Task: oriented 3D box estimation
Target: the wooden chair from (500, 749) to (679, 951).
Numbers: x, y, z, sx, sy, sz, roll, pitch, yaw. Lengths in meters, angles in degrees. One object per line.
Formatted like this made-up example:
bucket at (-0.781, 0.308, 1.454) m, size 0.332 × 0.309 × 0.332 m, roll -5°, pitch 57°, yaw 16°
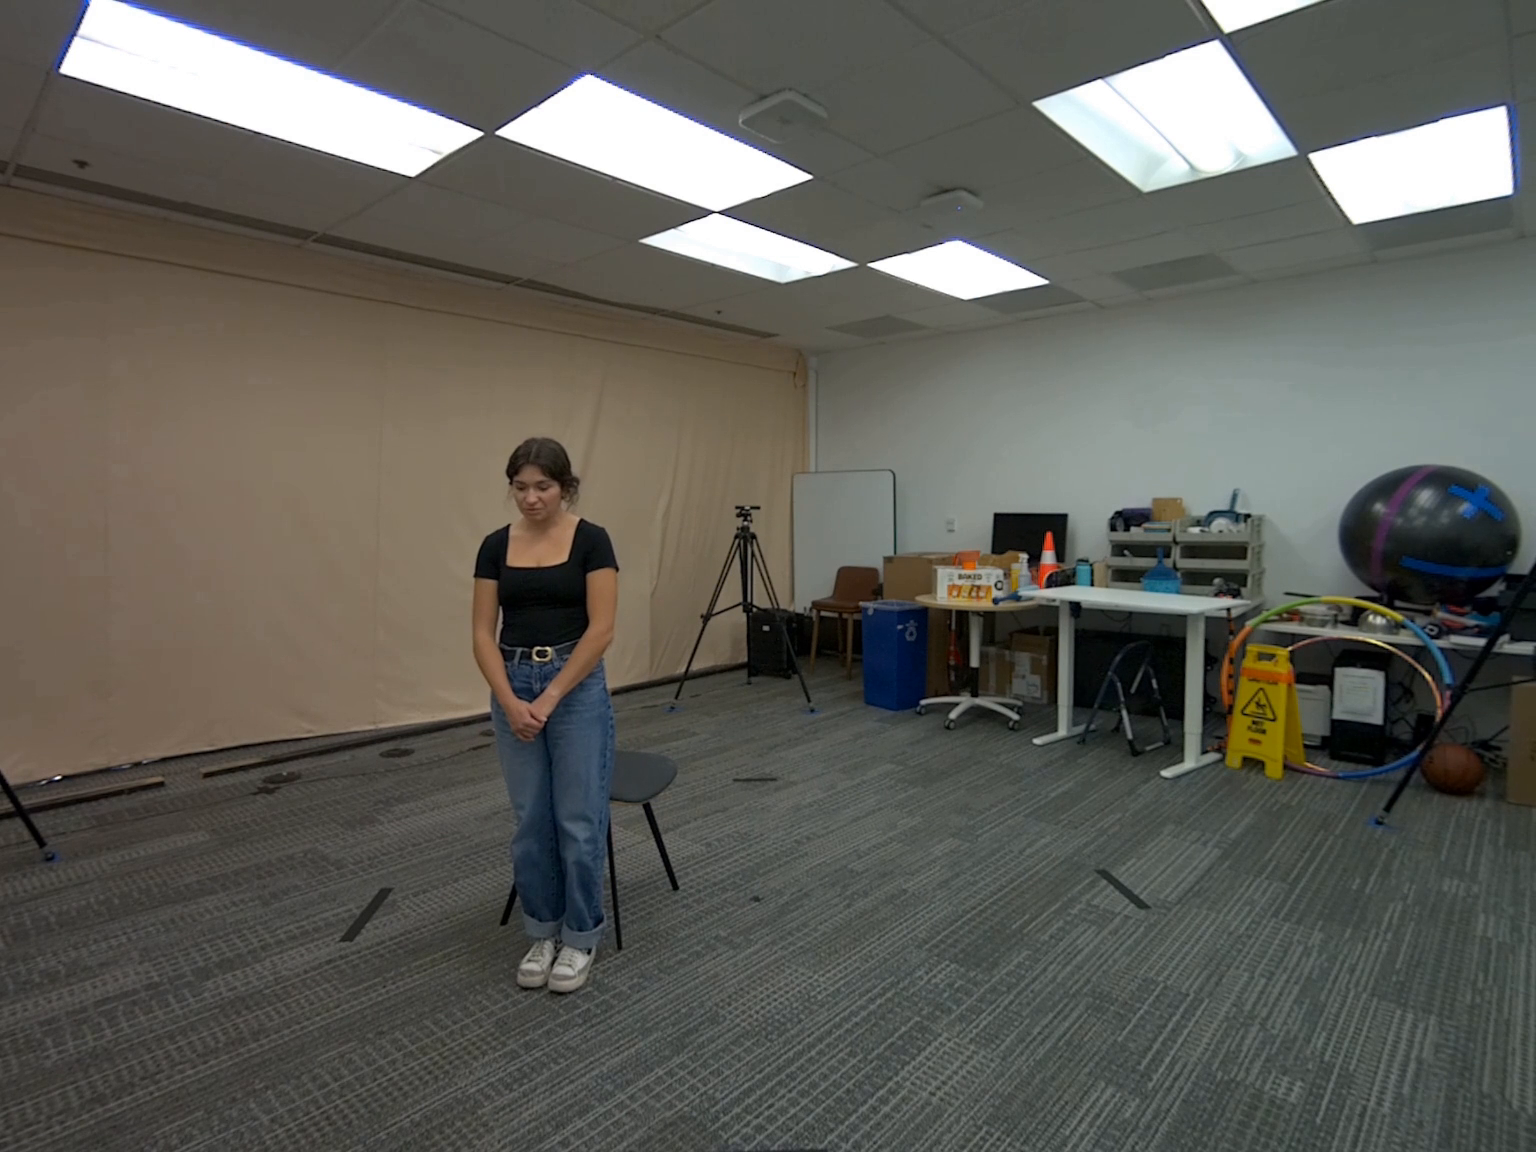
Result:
wooden chair at (-0.603, 0.728, 2.904) m, size 0.534 × 0.876 × 0.469 m, roll -4°, pitch 2°, yaw 20°
